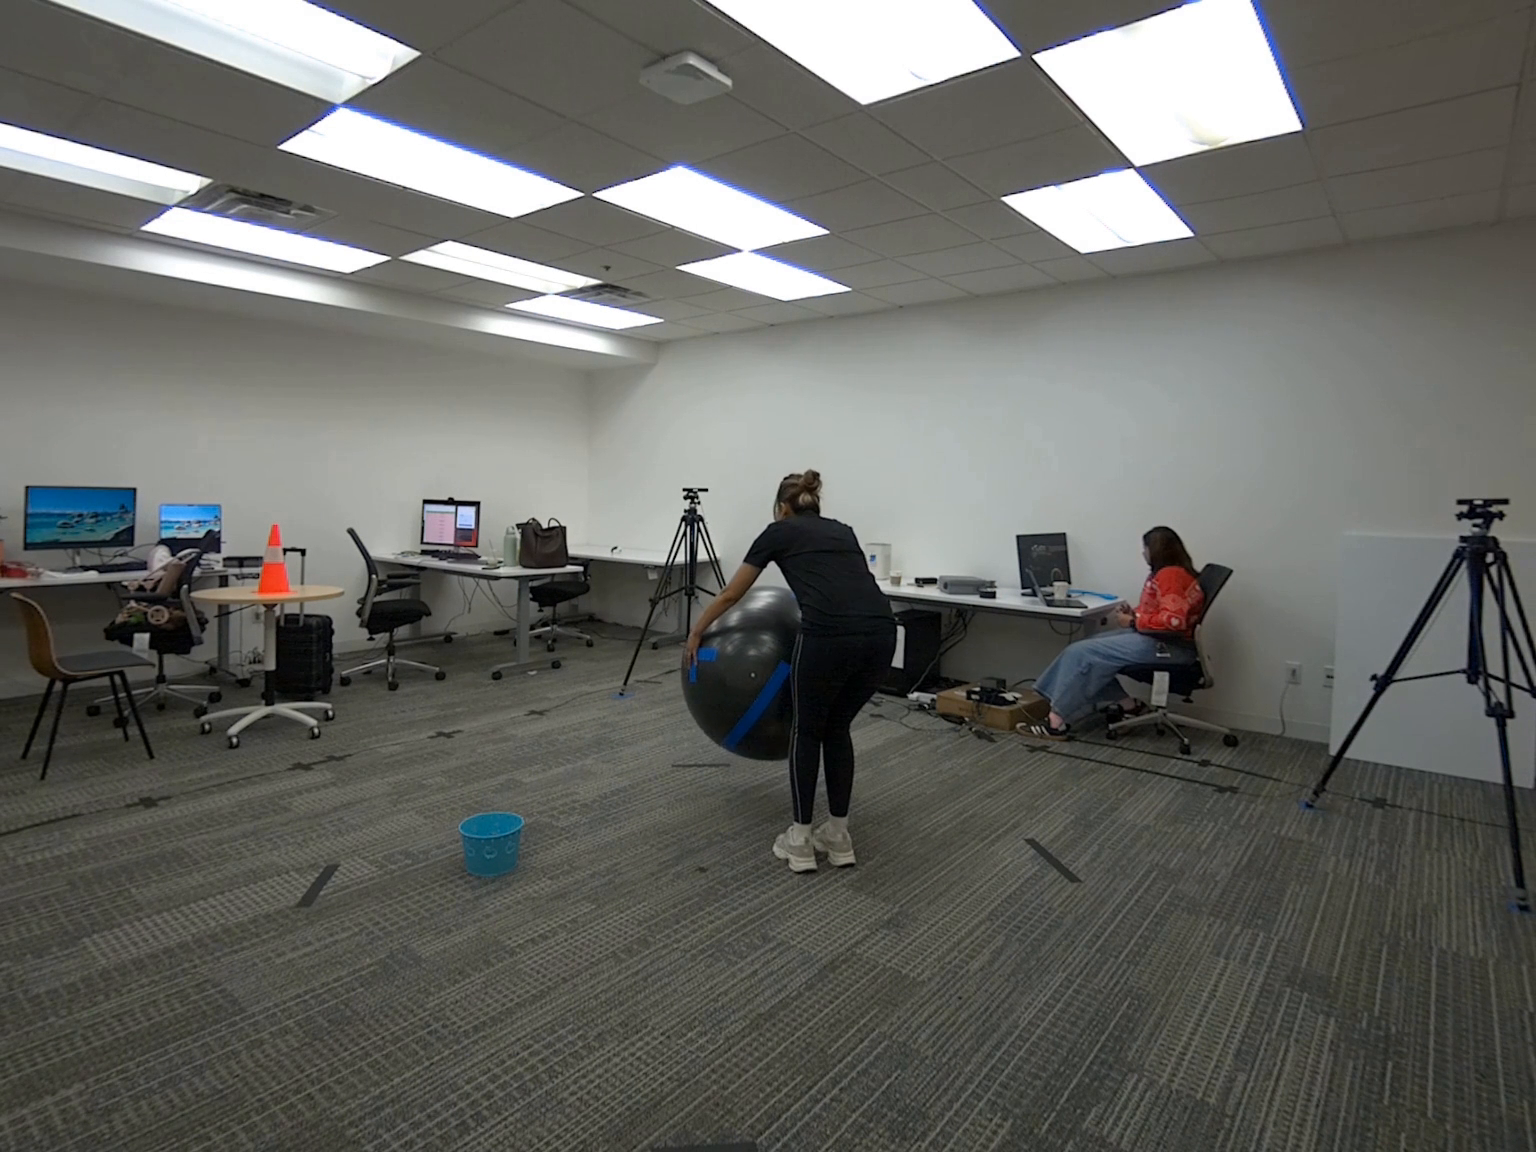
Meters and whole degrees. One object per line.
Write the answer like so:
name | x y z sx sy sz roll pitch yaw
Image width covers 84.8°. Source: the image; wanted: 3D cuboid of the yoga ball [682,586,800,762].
yoga ball | -0.017 0.423 3.749 0.757 0.756 0.762 1 4 -2
